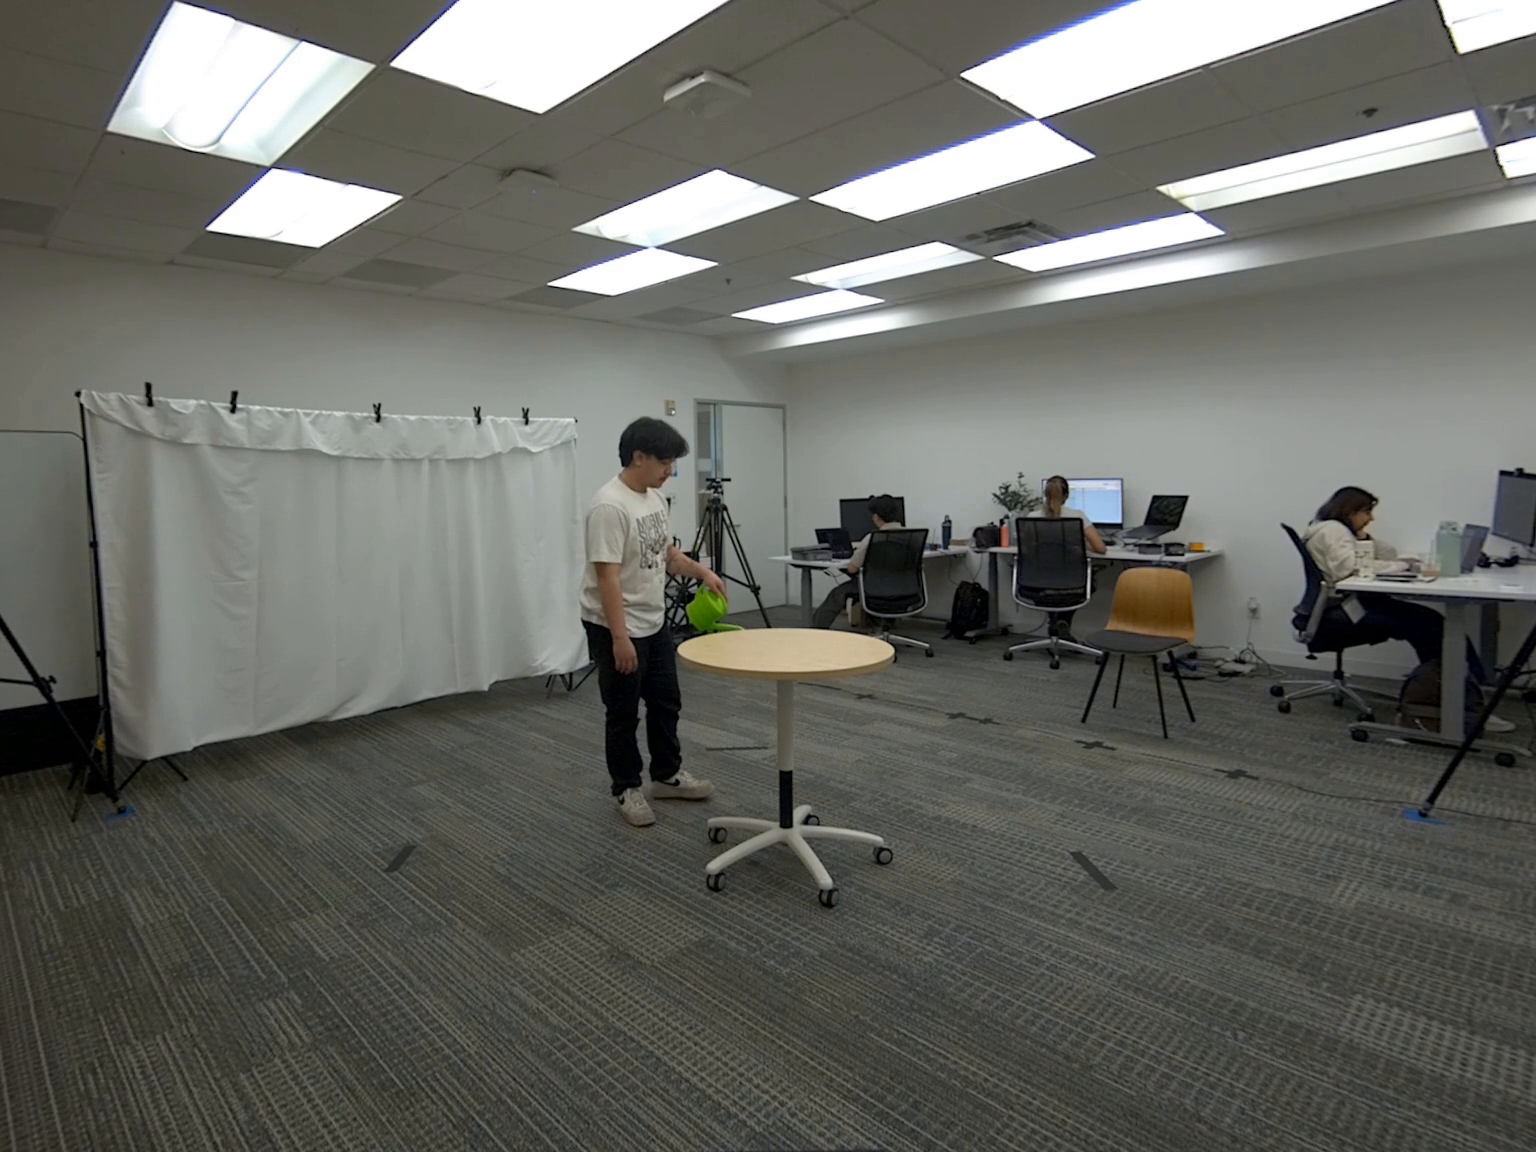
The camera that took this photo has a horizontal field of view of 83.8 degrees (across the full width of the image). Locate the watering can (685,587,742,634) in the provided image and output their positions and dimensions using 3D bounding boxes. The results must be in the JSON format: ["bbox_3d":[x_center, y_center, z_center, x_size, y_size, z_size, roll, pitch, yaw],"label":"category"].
[{"bbox_3d":[-0.234,0.173,3.617,0.177,0.285,0.095,-40,-23,27],"label":"watering can"}]
